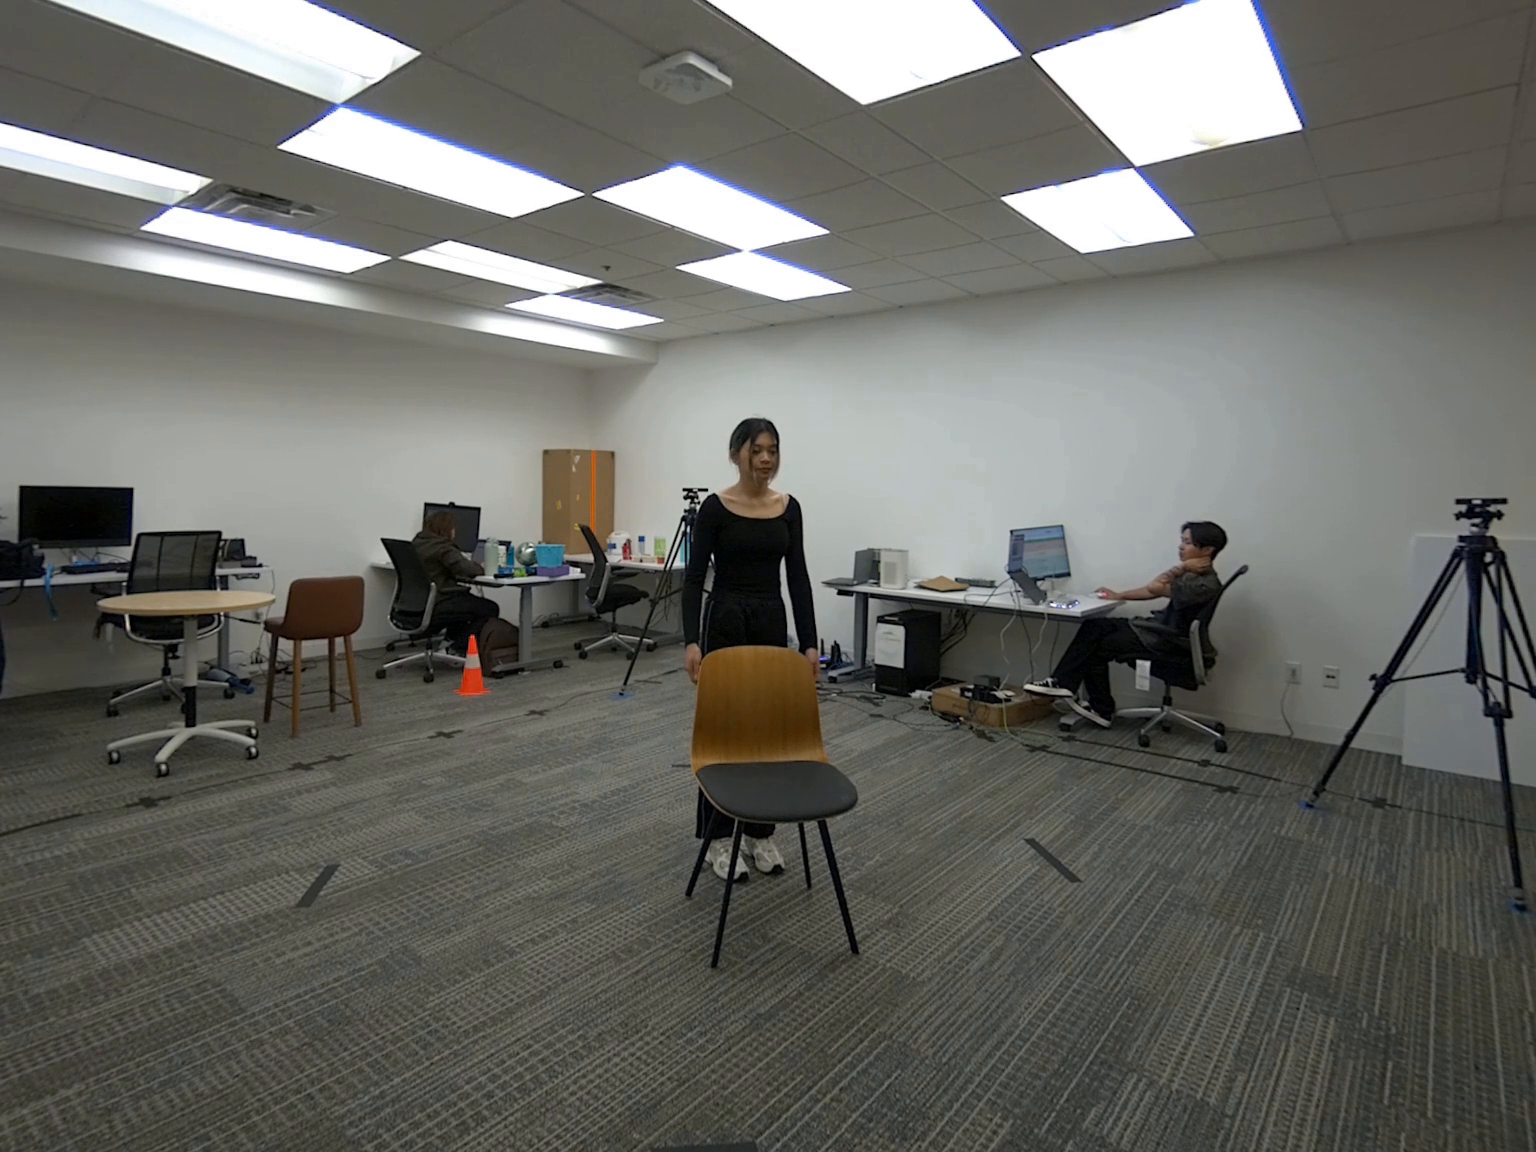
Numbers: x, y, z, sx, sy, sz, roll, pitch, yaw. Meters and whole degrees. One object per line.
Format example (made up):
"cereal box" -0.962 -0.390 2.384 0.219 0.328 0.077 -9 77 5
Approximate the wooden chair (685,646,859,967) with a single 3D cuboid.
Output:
"wooden chair" 0.007 0.684 2.692 0.471 0.878 0.530 2 -1 -14
